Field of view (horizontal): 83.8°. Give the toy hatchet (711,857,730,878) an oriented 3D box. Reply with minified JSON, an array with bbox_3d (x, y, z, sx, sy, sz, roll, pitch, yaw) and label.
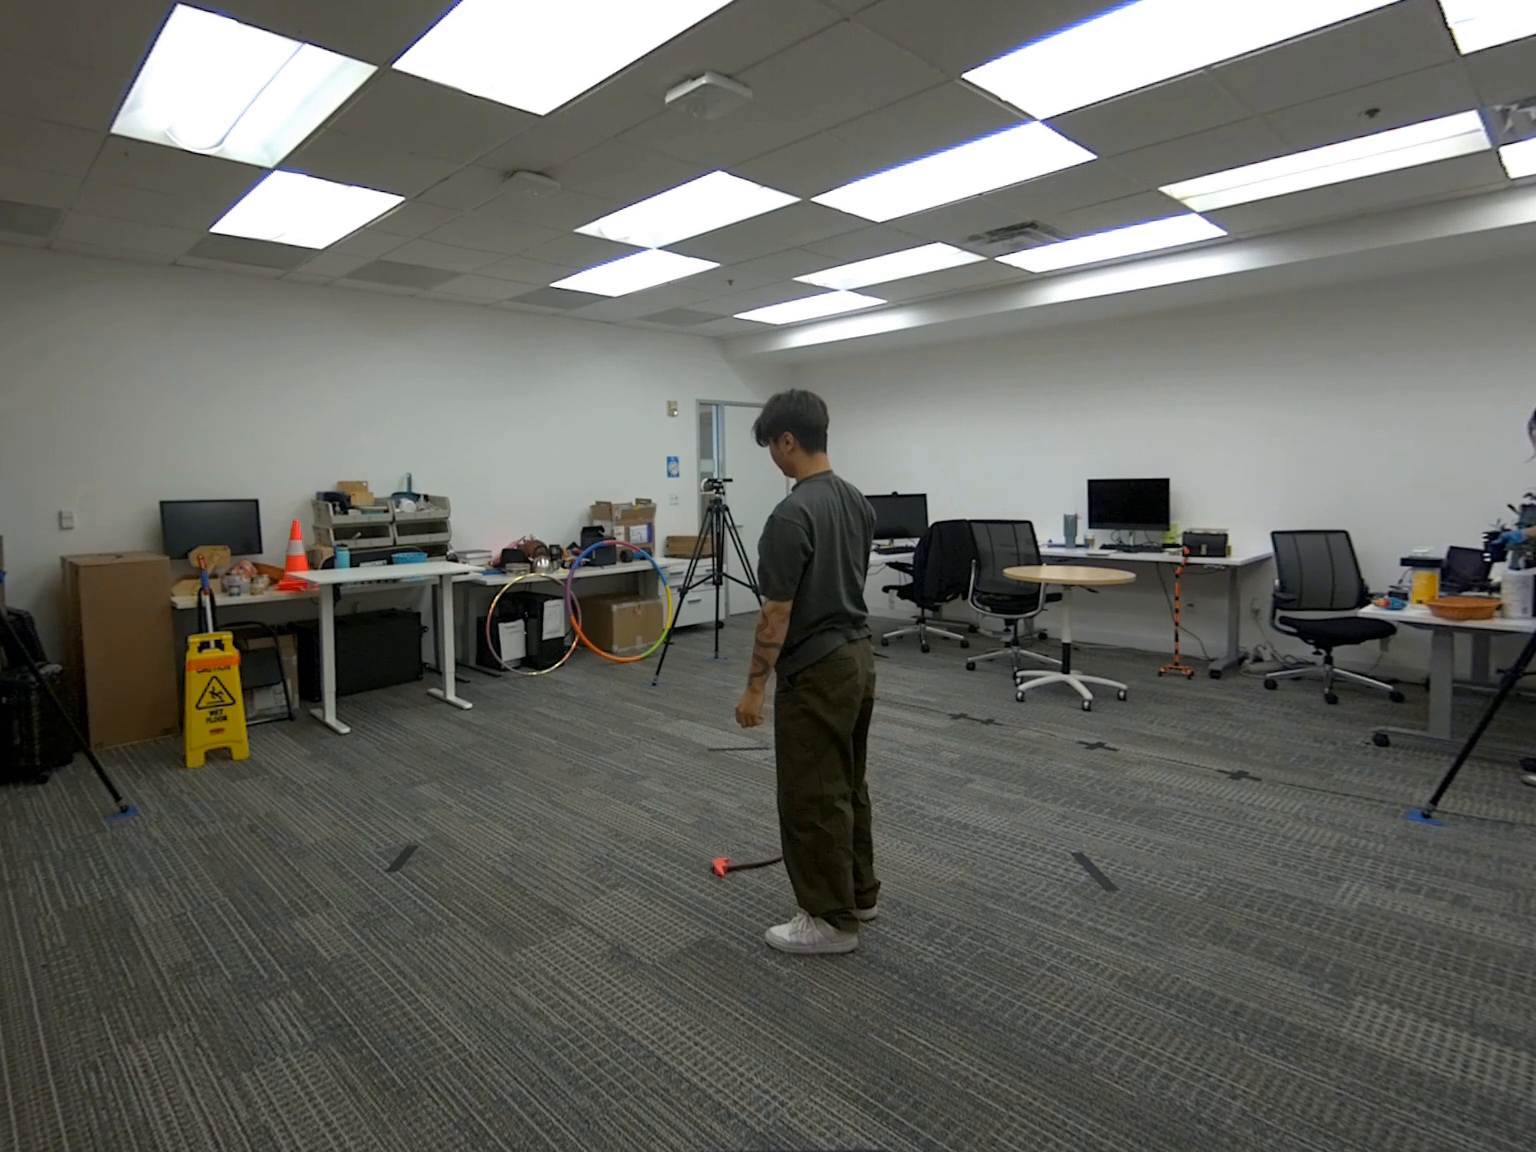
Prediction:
[{"bbox_3d":[-0.089,1.028,3.095,0.263,0.029,0.135,-2,3,-34],"label":"toy hatchet"}]
